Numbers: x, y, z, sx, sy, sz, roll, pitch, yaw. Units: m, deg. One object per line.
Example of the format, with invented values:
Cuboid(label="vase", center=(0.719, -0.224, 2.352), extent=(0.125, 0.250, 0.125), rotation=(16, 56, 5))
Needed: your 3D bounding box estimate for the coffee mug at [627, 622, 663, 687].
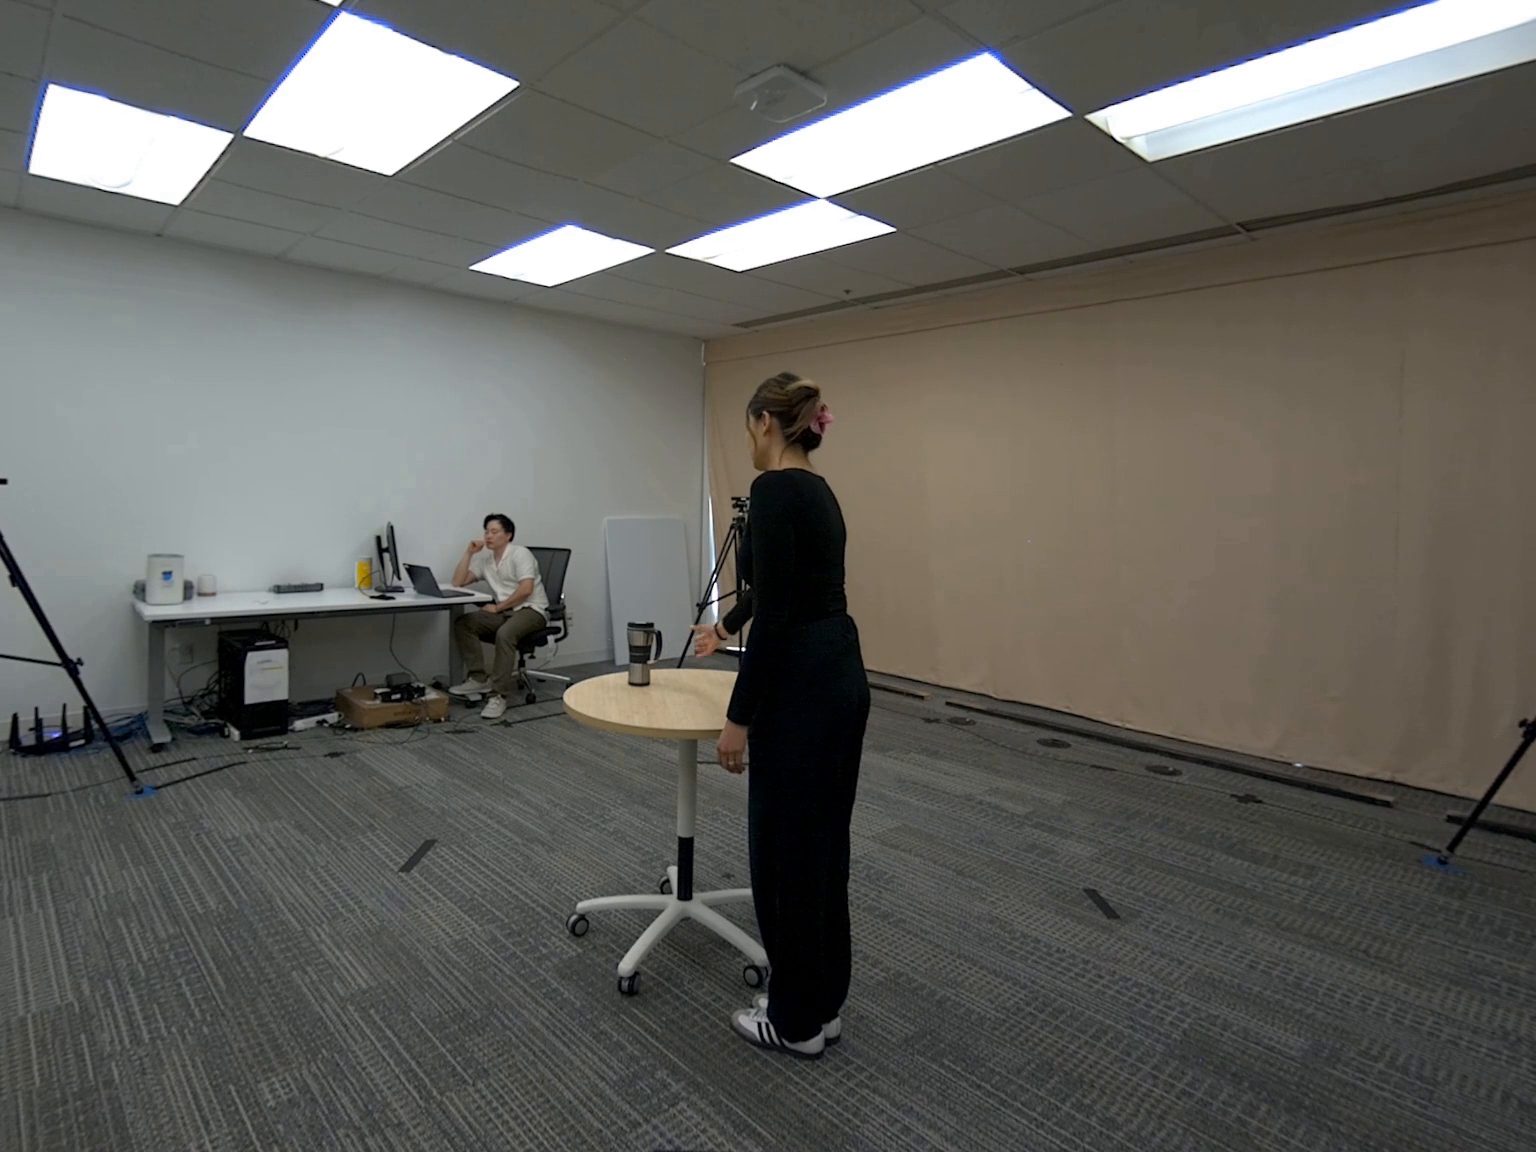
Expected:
Cuboid(label="coffee mug", center=(-0.404, 0.252, 2.692), extent=(0.086, 0.203, 0.124), rotation=(3, 0, -29))
